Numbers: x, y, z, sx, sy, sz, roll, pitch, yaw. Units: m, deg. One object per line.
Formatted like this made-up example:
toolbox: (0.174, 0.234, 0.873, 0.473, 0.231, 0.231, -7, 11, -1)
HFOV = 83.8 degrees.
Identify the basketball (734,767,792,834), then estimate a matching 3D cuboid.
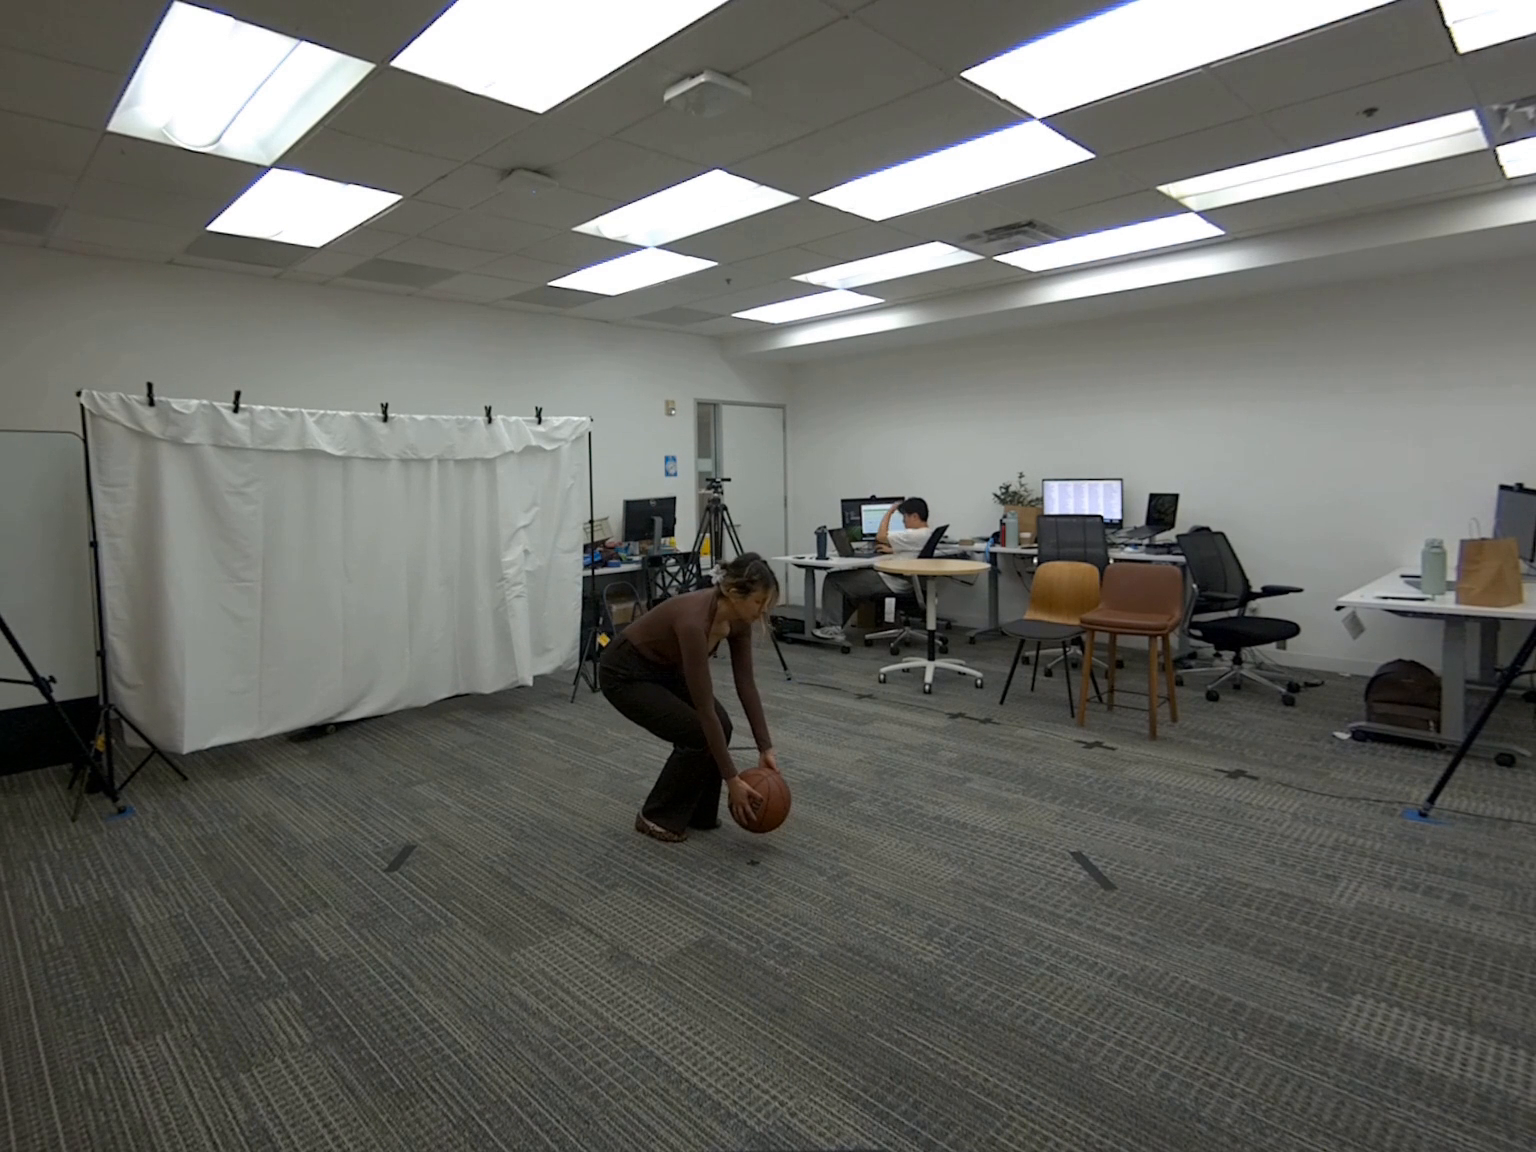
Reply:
basketball: (-0.028, 0.830, 3.215, 0.236, 0.235, 0.237, -1, 5, -2)
